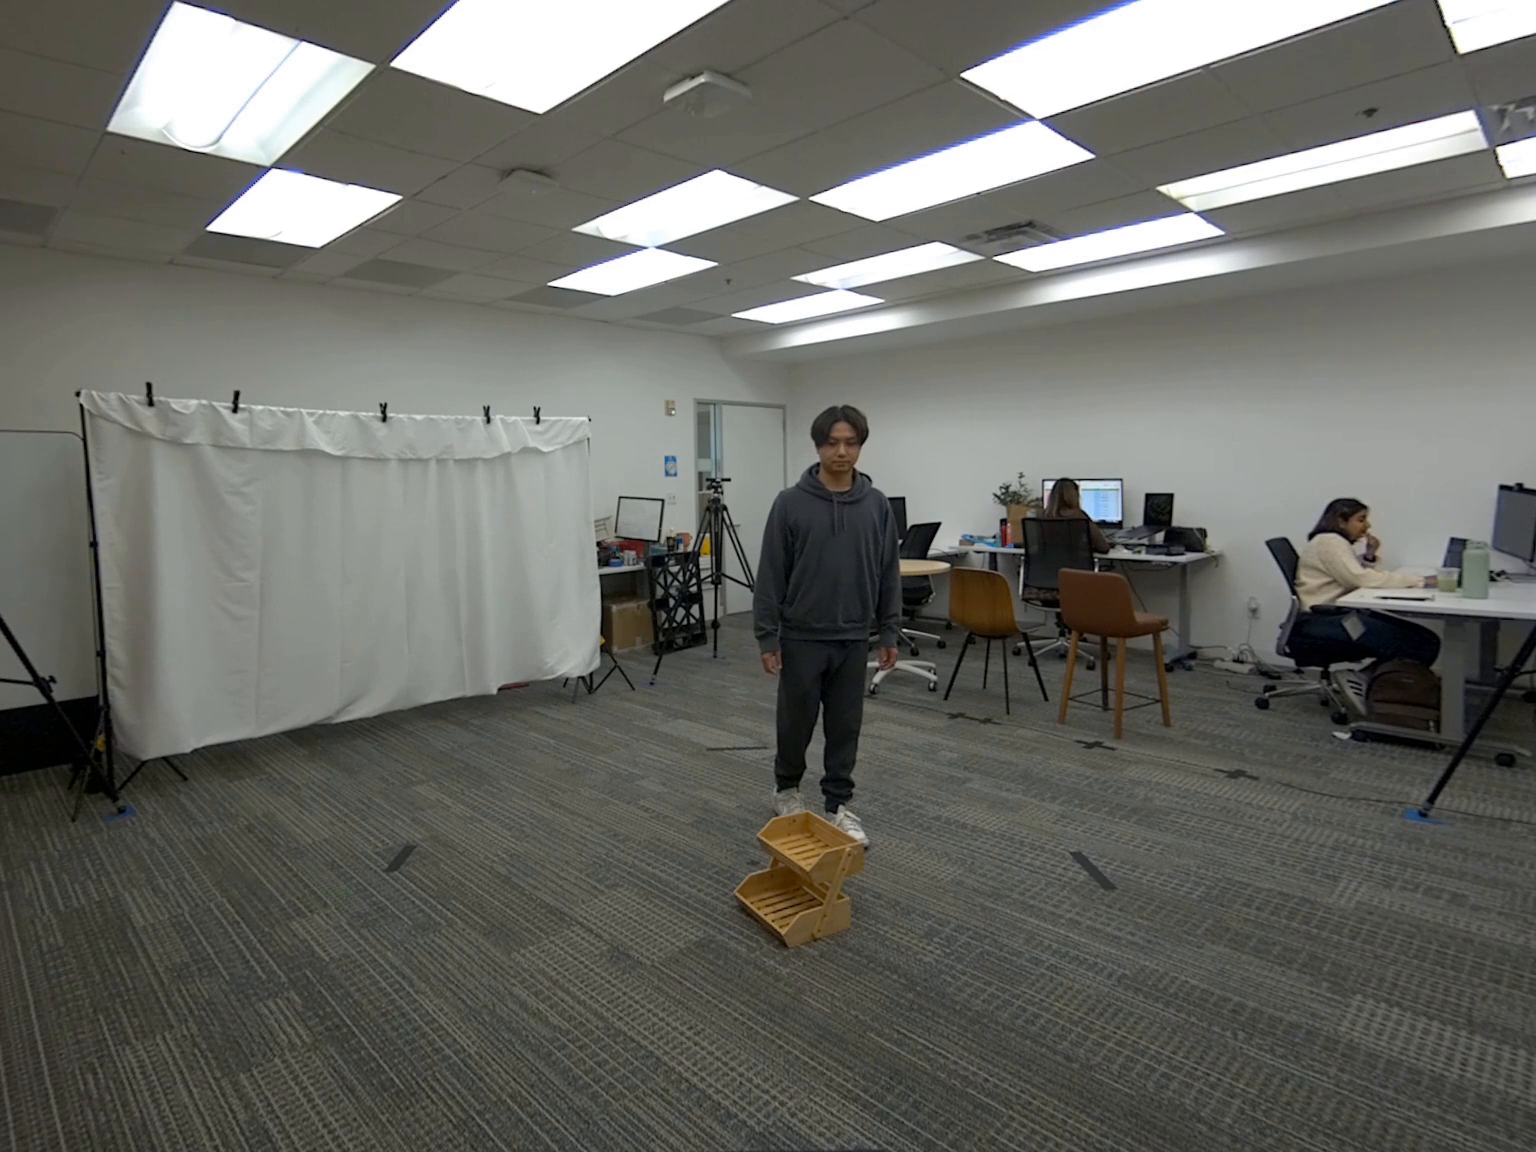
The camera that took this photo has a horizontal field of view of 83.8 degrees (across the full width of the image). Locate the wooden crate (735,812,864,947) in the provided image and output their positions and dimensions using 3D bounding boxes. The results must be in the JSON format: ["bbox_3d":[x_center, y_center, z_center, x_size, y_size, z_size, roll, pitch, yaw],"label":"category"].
[{"bbox_3d":[0.092,0.953,2.726,0.295,0.272,0.334,-4,6,-31],"label":"wooden crate"}]
